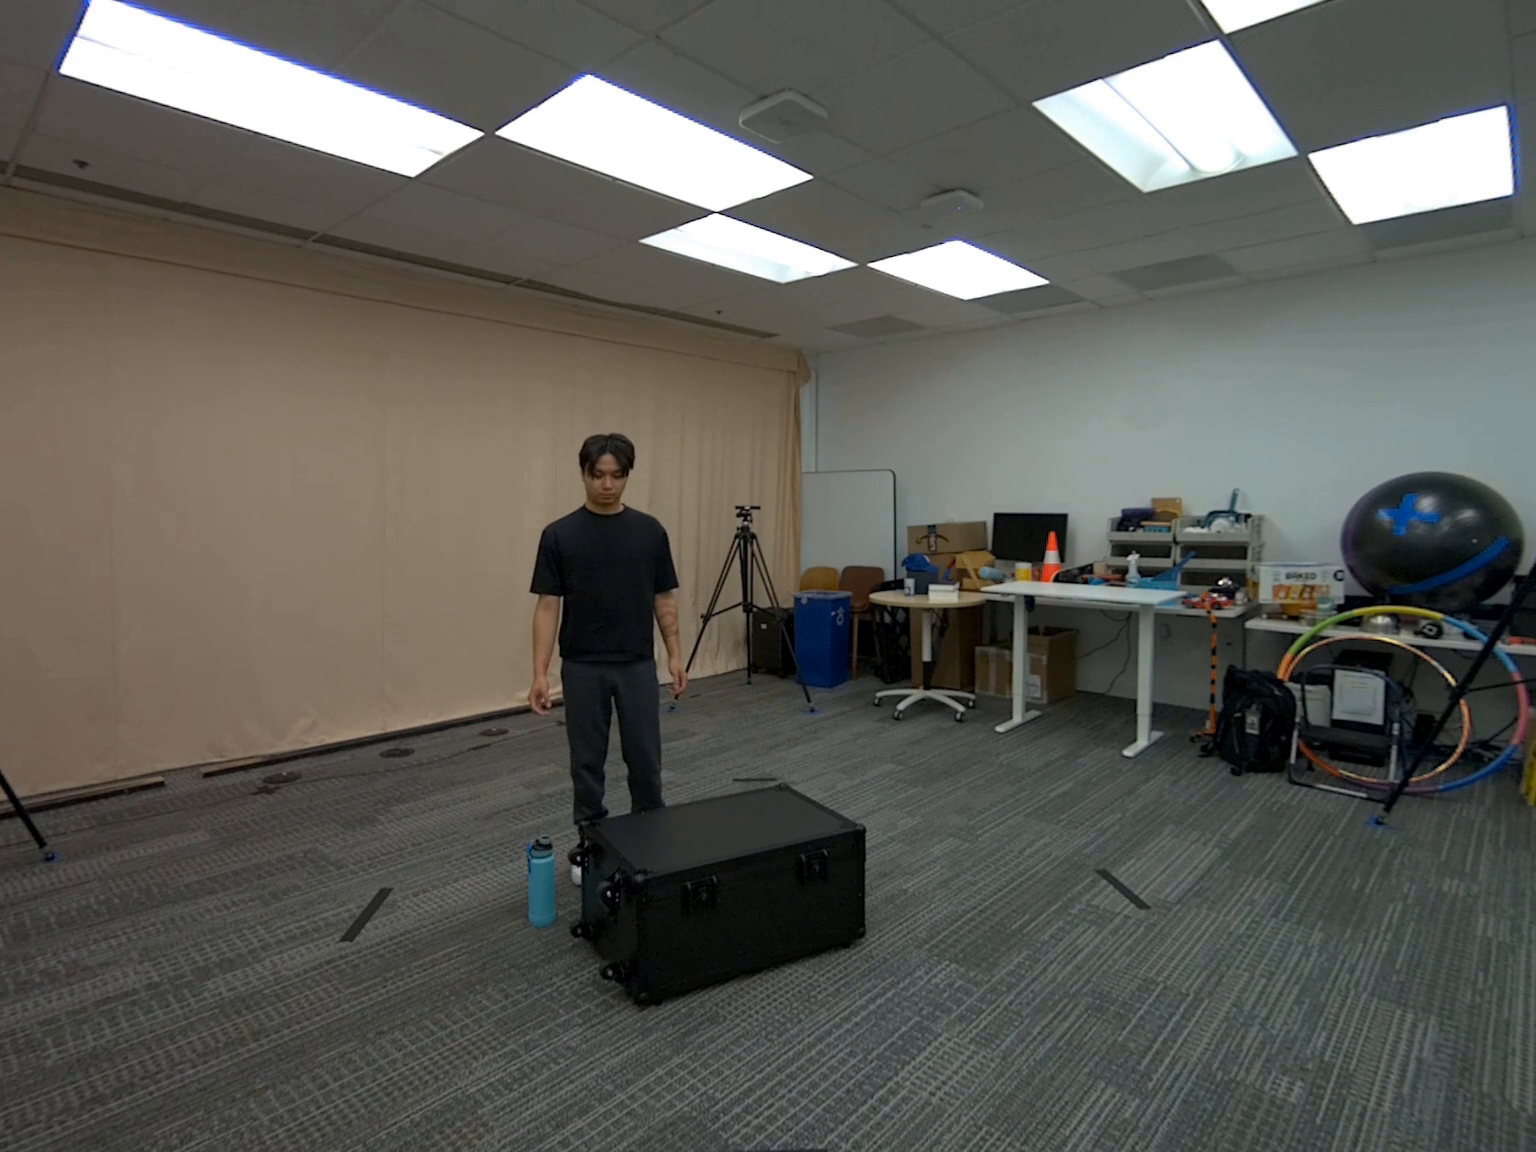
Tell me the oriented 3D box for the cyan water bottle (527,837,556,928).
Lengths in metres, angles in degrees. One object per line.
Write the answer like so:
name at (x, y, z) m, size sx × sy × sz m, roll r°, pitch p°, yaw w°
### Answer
cyan water bottle at (-0.761, 1.015, 2.841) m, size 0.092 × 0.282 × 0.093 m, roll -2°, pitch 4°, yaw -2°
